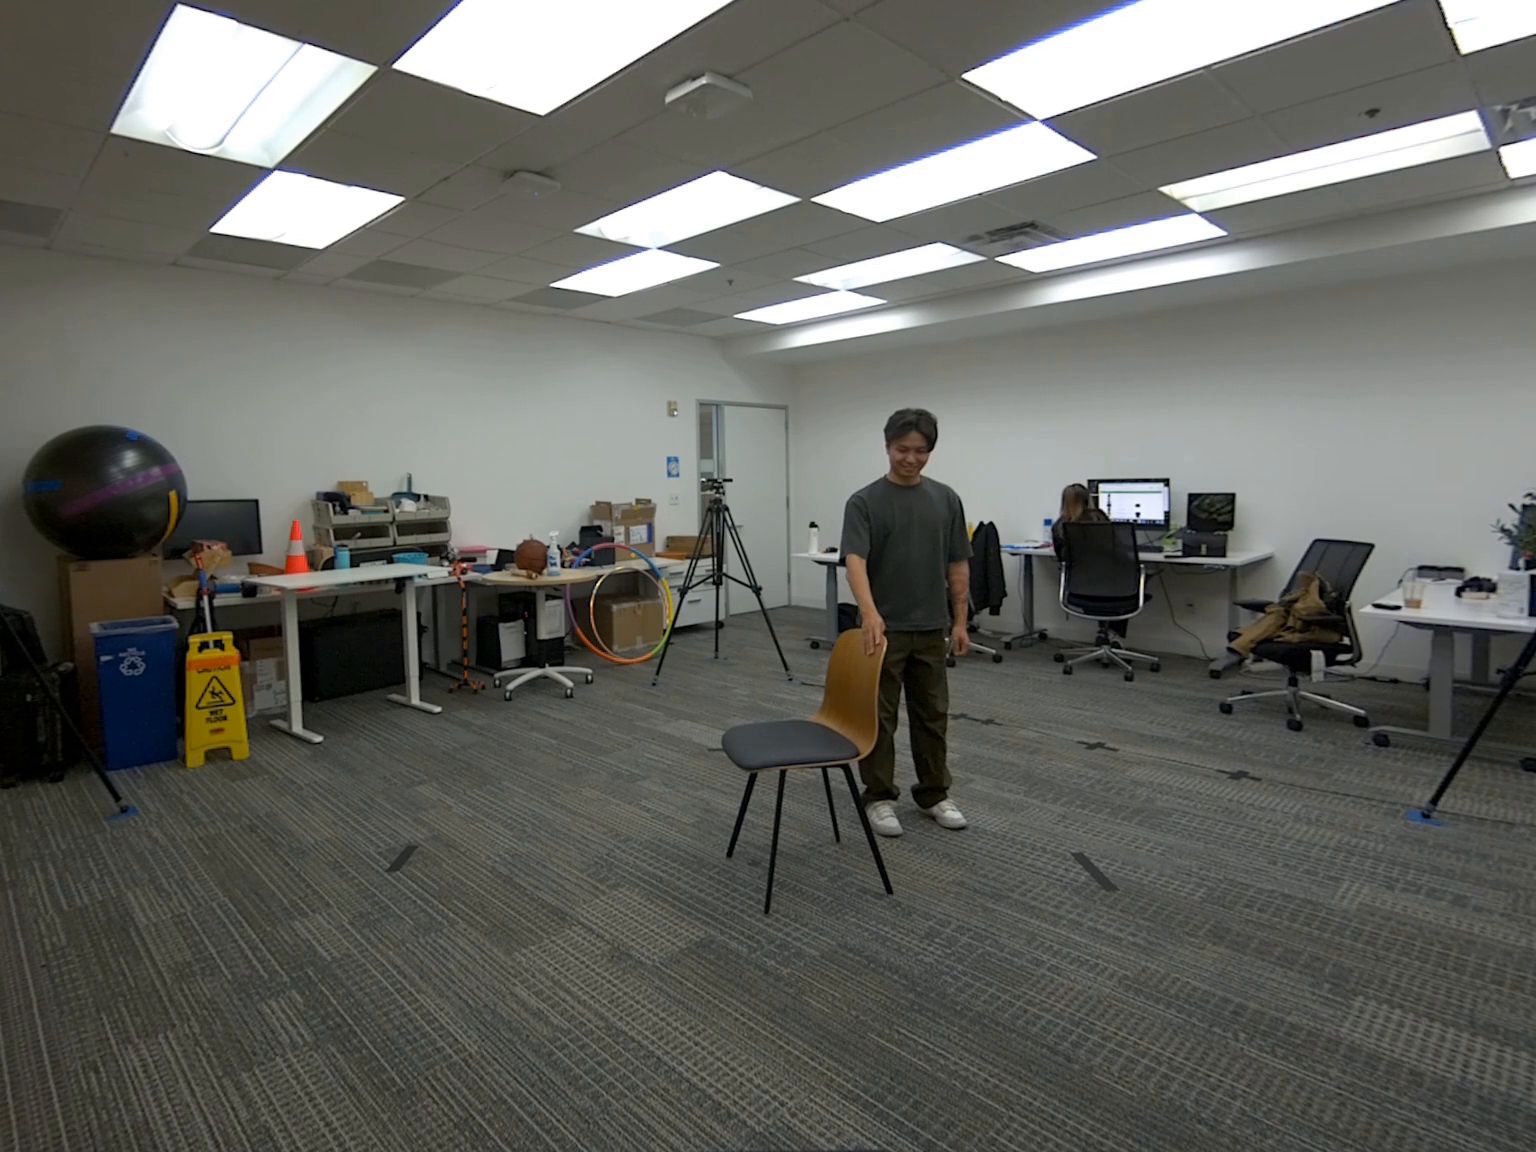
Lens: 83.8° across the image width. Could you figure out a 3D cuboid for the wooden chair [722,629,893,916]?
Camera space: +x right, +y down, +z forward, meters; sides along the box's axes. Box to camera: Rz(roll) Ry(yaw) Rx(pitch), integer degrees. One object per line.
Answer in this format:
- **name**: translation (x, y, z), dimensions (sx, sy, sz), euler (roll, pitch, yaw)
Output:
- **wooden chair**: translation (0.121, 0.629, 2.975), dimensions (0.514, 0.875, 0.487), euler (2, 4, -18)
